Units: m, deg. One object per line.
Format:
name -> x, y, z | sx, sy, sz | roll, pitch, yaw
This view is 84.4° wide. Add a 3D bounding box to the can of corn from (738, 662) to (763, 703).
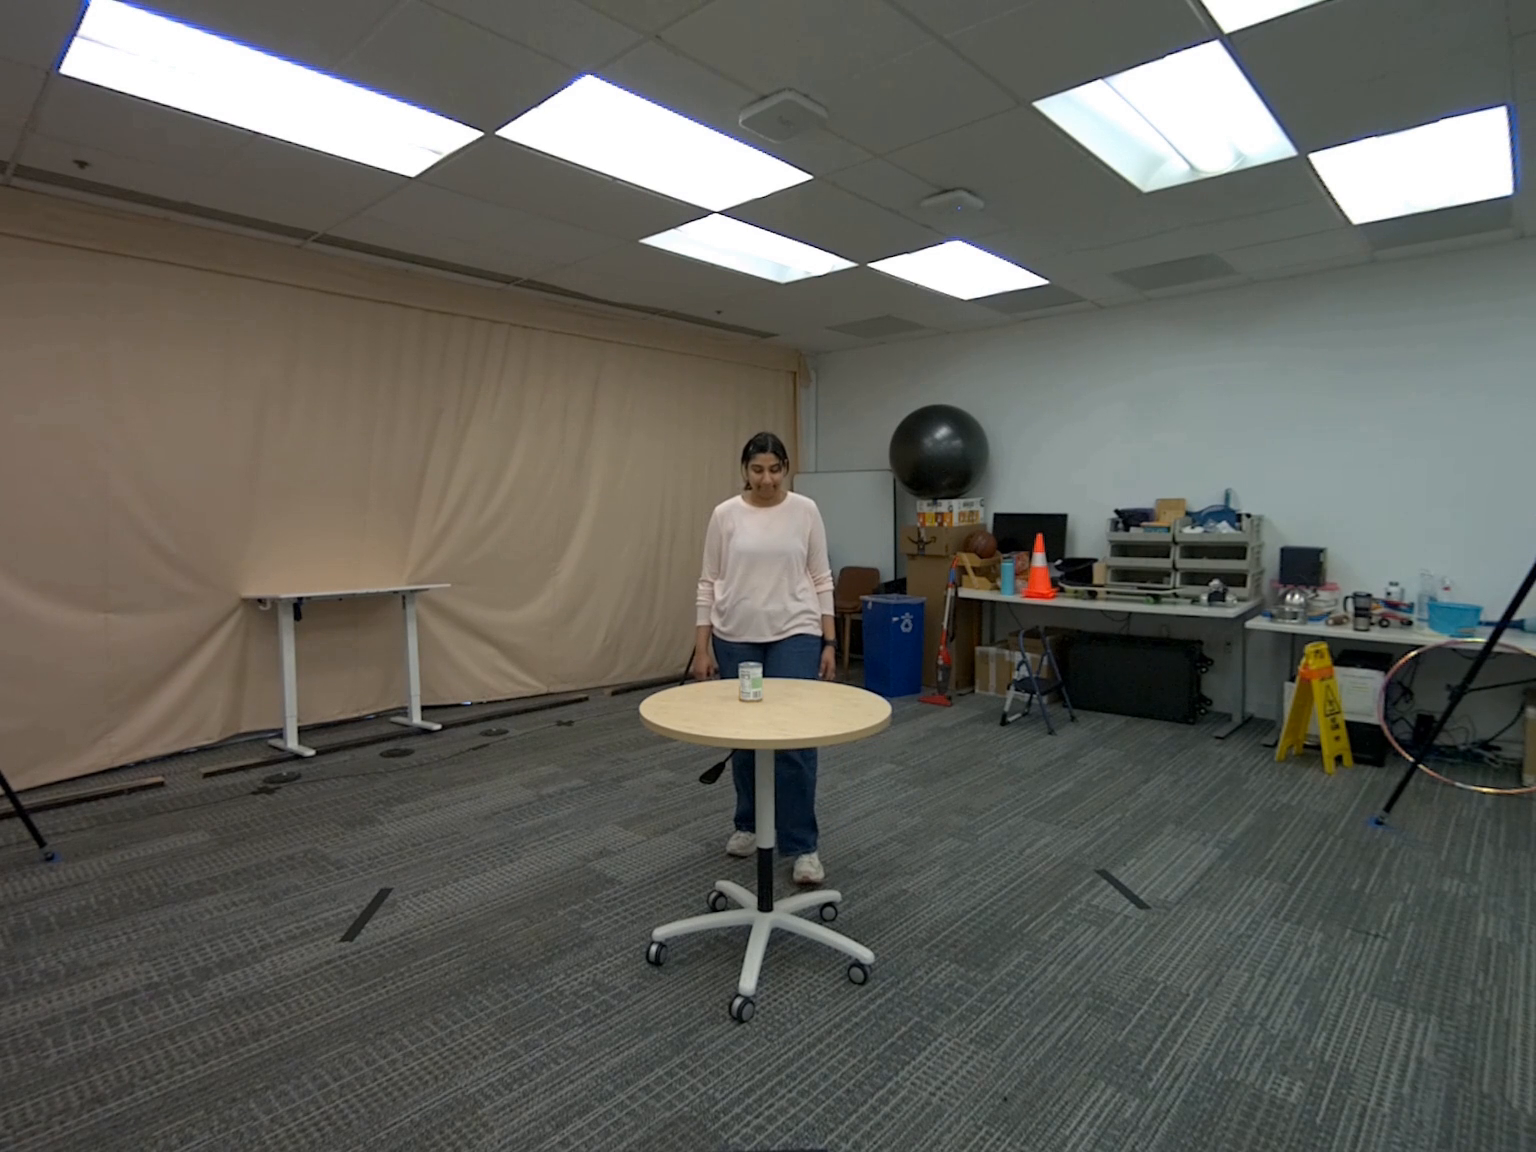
can of corn -> -0.054, 0.334, 2.641 | 0.074, 0.111, 0.074 | -2, 2, -2
